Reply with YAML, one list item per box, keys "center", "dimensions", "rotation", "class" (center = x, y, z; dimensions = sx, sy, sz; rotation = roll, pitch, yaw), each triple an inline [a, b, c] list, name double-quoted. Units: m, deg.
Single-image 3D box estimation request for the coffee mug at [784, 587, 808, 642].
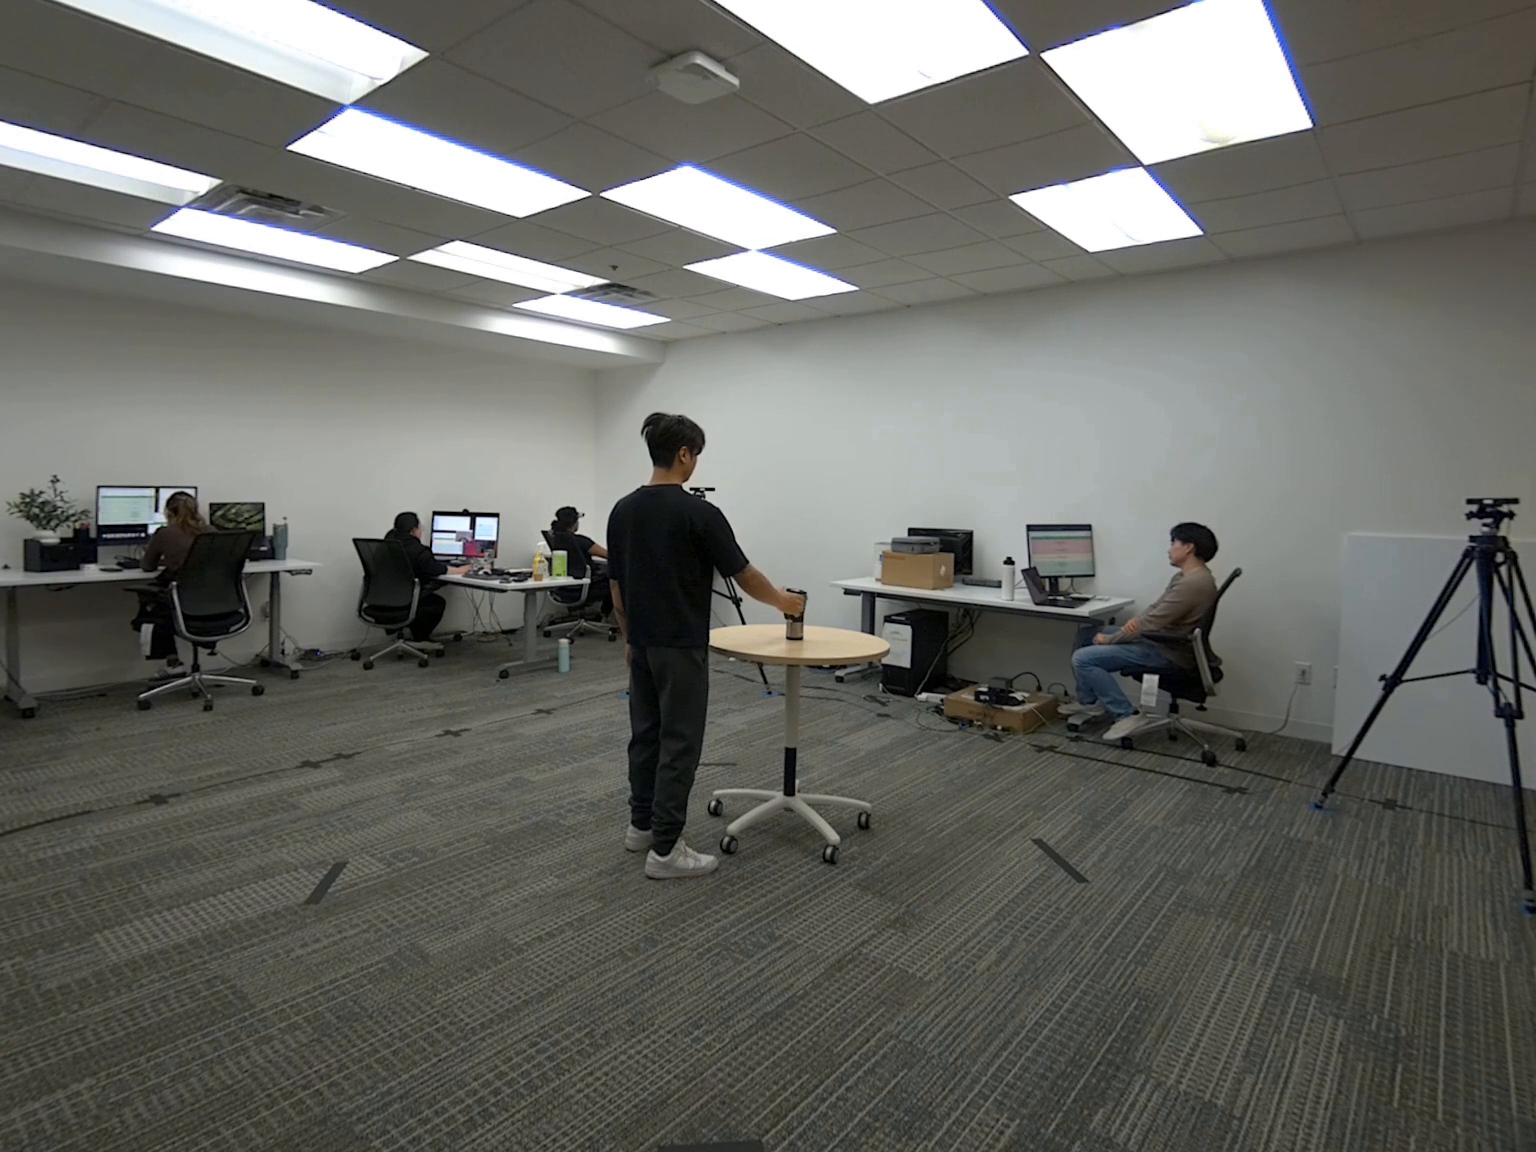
- center: [0.084, 0.155, 3.460]
  dimensions: [0.118, 0.202, 0.091]
  rotation: [3, 7, -31]
  class: "coffee mug"
